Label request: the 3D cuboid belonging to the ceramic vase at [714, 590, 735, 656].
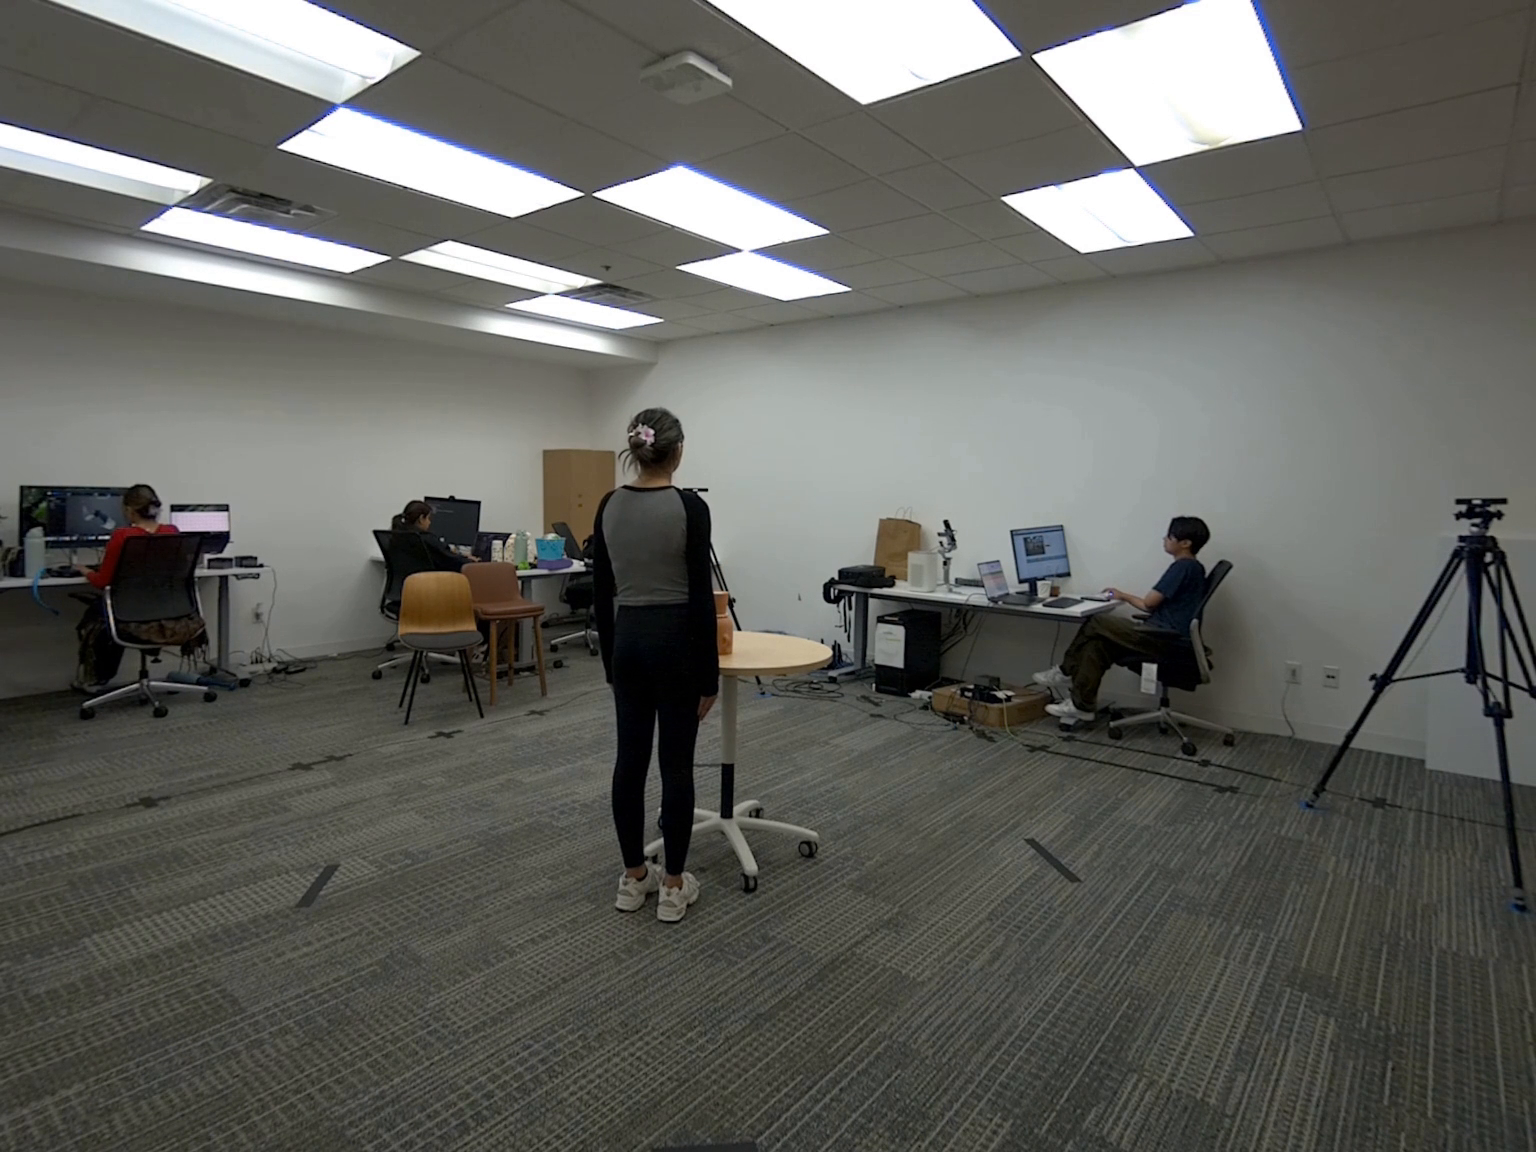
[{"bbox_3d":[-0.205,0.166,3.115,0.162,0.219,0.132,2,4,17],"label":"ceramic vase"}]
